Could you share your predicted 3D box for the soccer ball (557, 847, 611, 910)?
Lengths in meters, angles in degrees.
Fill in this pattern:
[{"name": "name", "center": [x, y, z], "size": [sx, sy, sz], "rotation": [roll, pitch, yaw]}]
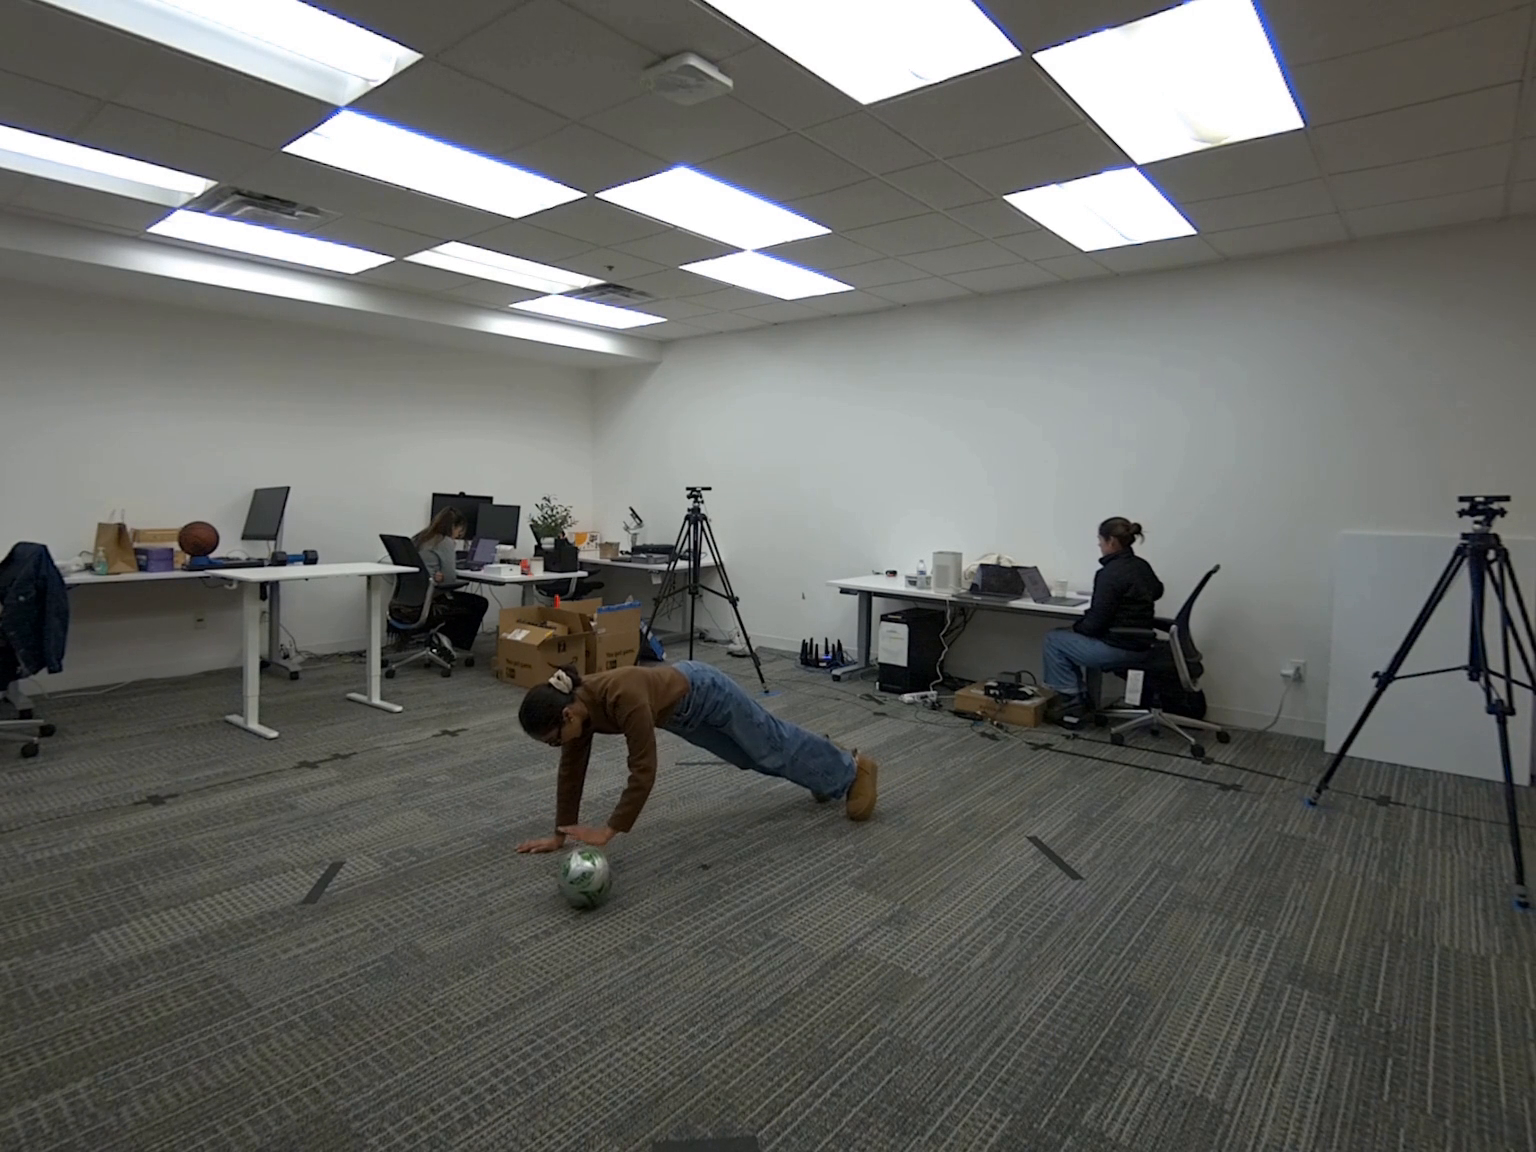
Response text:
[{"name": "soccer ball", "center": [-0.621, 0.997, 2.824], "size": [0.187, 0.187, 0.188], "rotation": [1, 4, -2]}]
